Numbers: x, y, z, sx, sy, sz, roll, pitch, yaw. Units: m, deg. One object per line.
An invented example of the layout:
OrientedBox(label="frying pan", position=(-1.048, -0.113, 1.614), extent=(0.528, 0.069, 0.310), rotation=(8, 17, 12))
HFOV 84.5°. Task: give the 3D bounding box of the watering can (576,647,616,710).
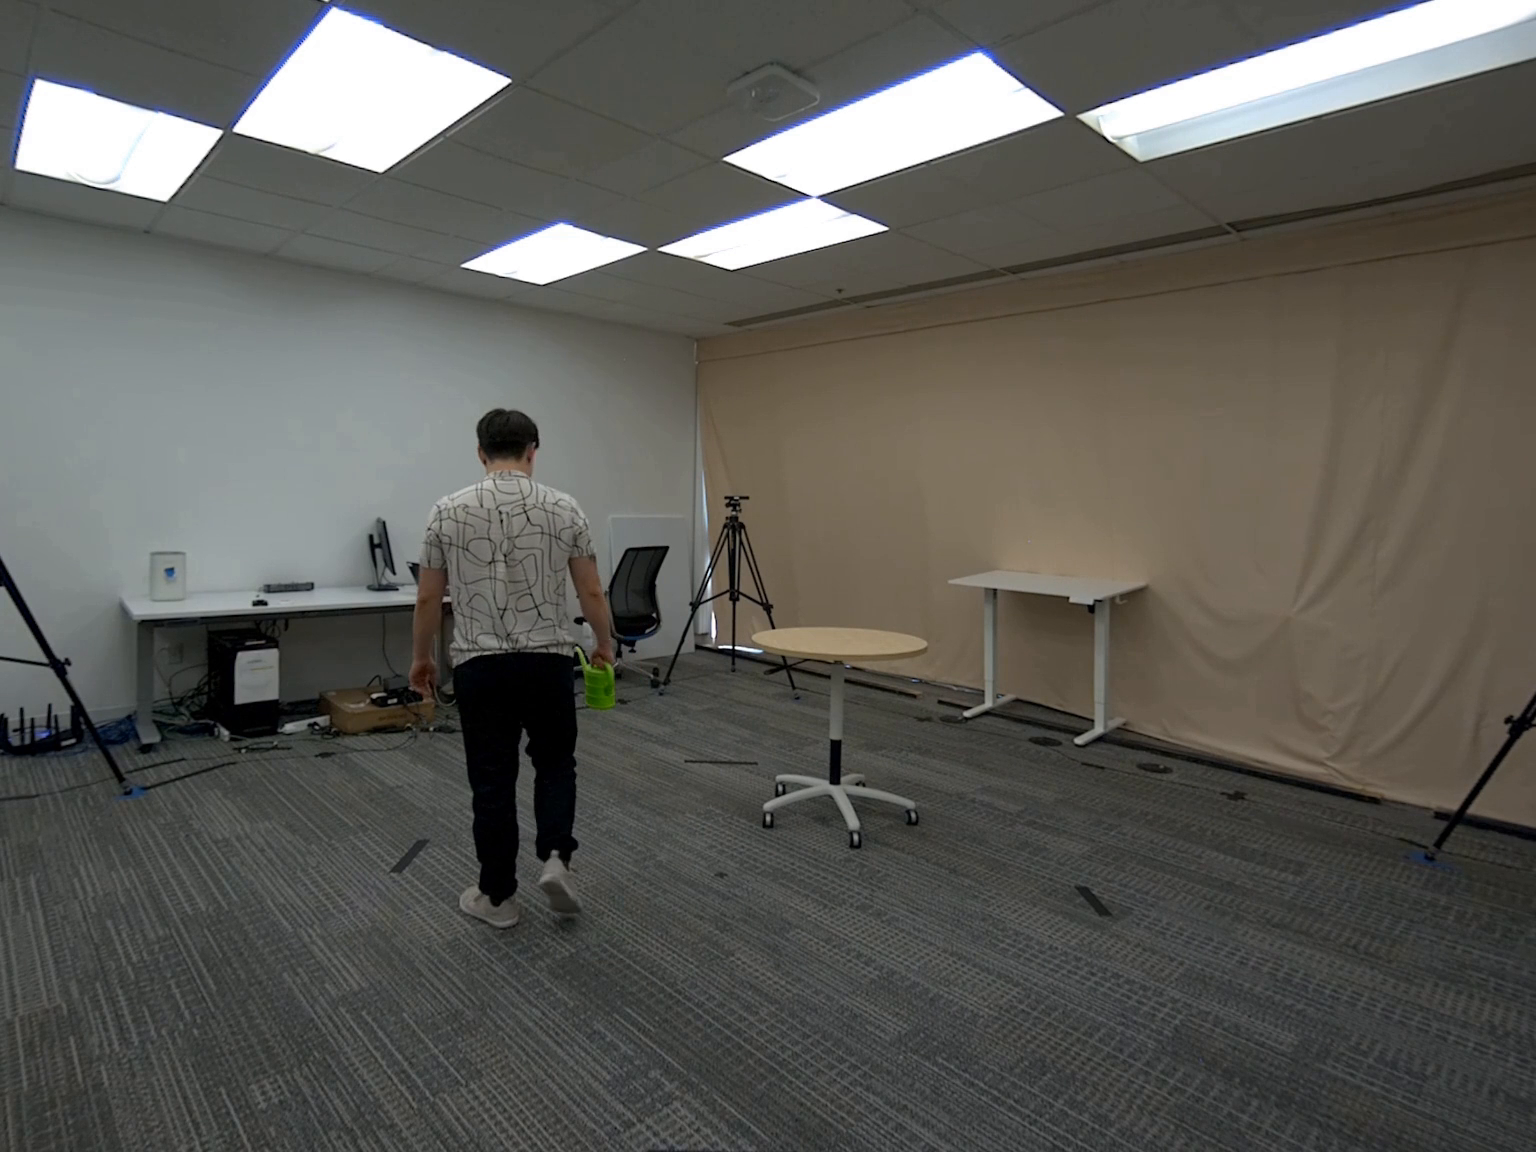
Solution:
OrientedBox(label="watering can", position=(-0.607, 0.371, 2.983), extent=(0.096, 0.176, 0.284), rotation=(-5, 10, -24))
